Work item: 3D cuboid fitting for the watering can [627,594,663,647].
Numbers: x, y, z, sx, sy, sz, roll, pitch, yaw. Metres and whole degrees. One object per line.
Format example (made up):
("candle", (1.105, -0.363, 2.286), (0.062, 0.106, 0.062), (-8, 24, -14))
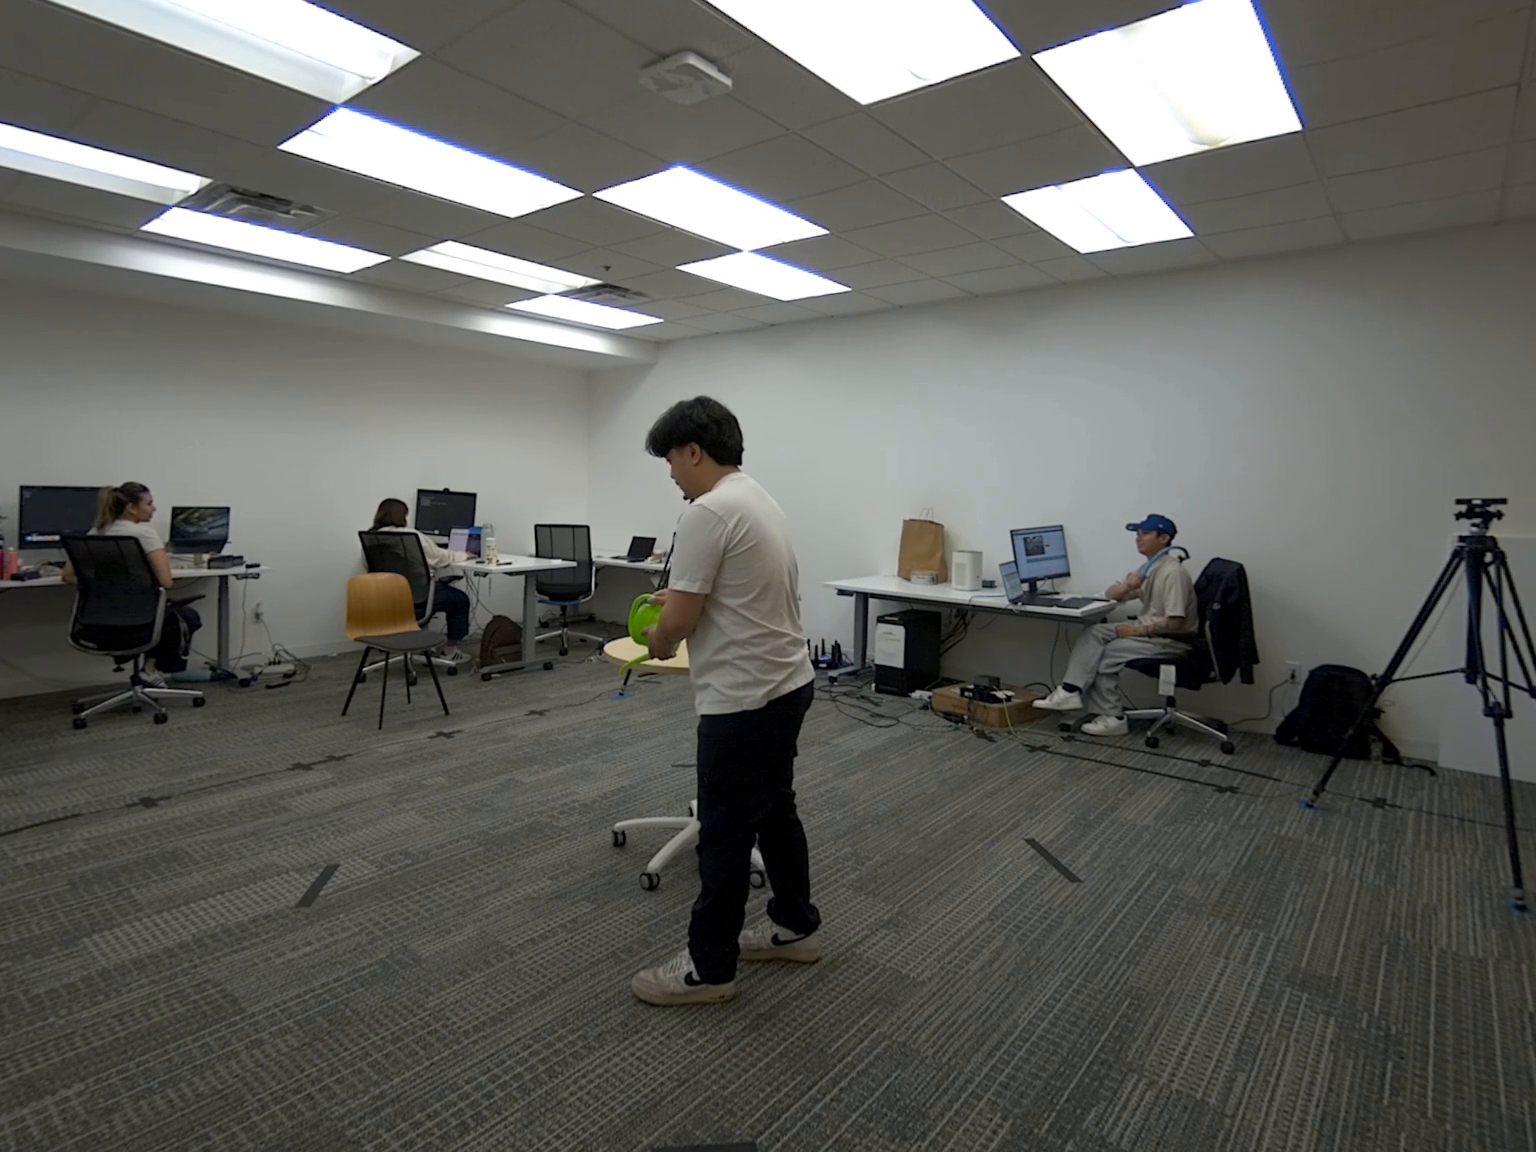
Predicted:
("watering can", (-0.374, 0.194, 2.639), (0.182, 0.274, 0.097), (17, 21, 22))
